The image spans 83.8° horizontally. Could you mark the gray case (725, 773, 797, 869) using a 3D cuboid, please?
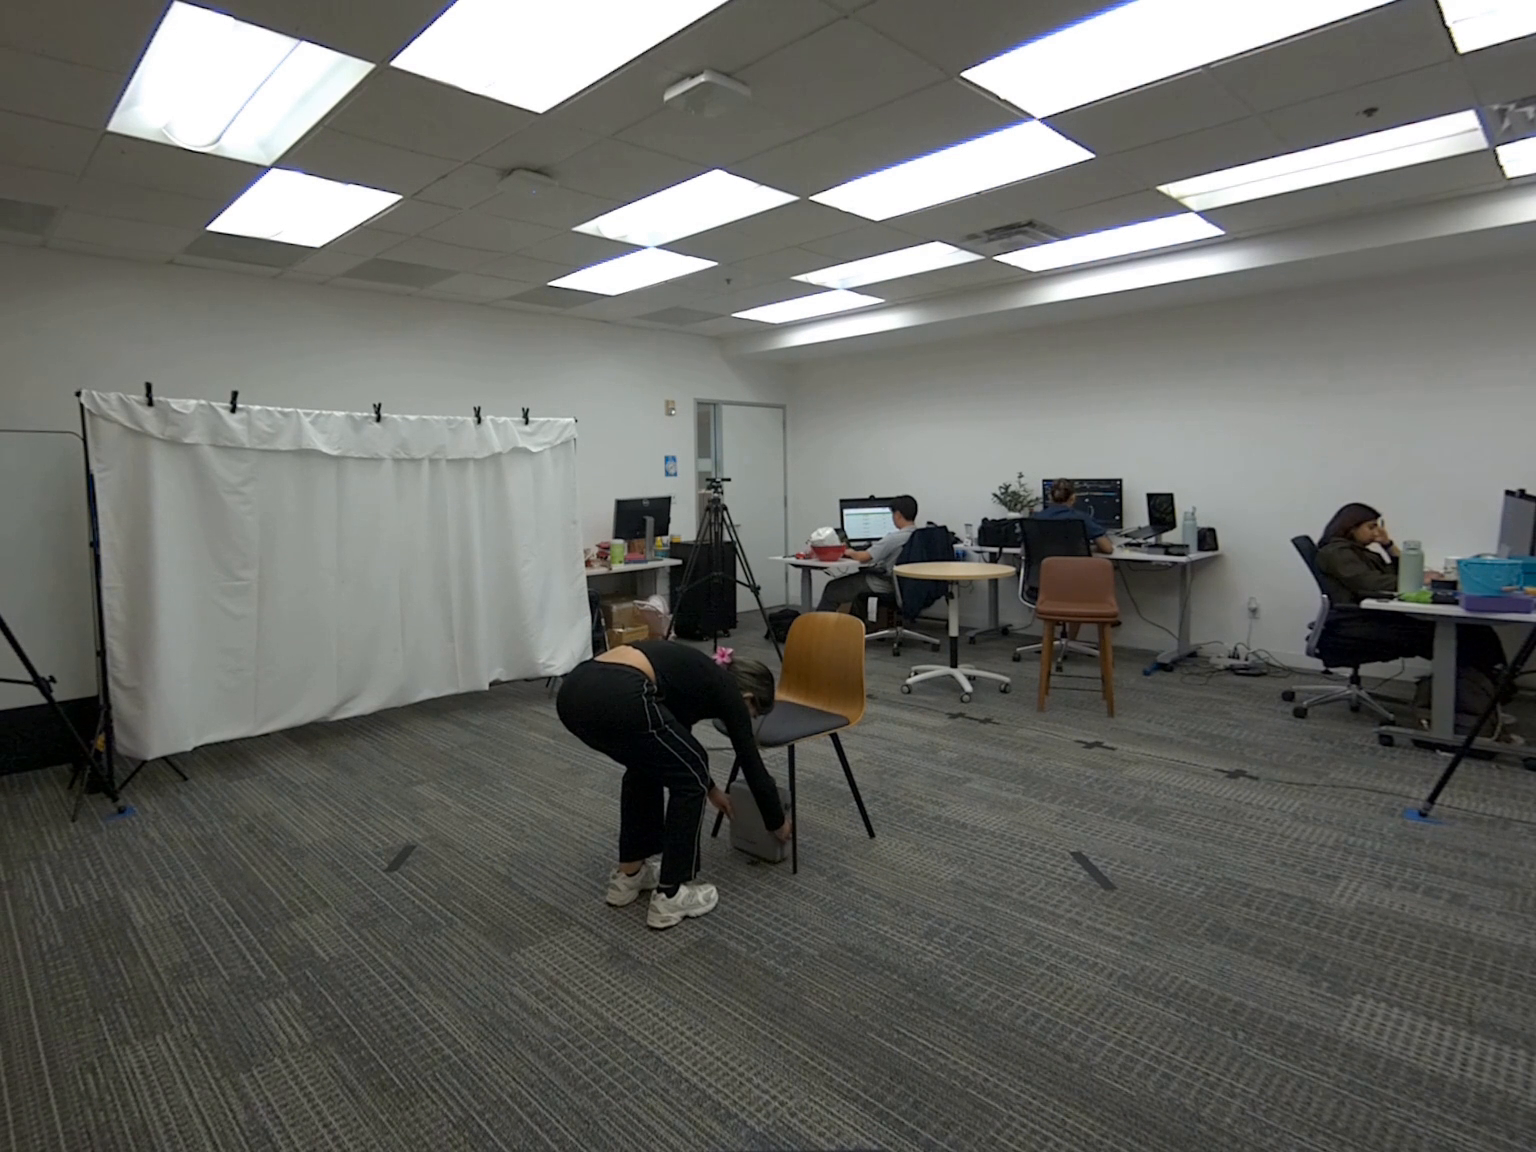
[{"bbox_3d":[-0.031,0.896,3.176,0.101,0.259,0.265,-5,6,-44],"label":"gray case"}]
